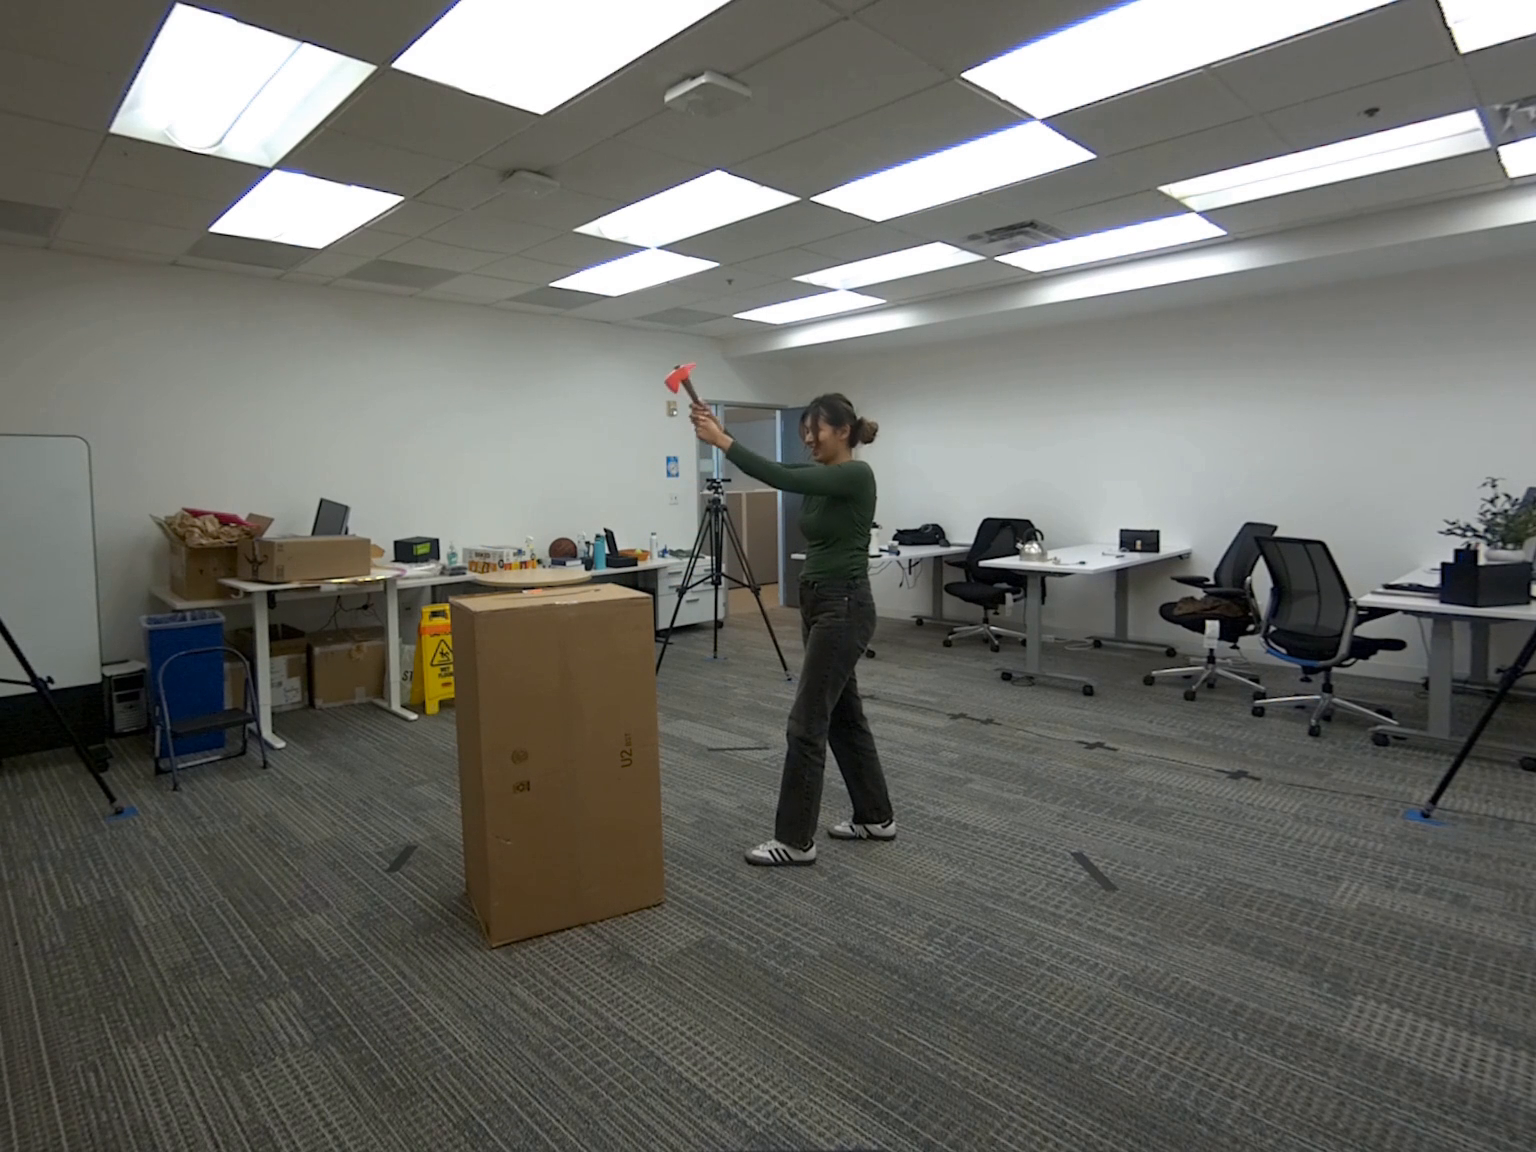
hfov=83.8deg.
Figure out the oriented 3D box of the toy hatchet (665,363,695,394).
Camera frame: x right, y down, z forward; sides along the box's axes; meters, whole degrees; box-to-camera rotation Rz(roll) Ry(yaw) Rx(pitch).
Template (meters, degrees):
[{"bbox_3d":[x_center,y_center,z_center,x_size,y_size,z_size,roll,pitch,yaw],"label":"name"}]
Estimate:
[{"bbox_3d":[-0.271,-0.597,2.957,0.129,0.268,0.030,-17,7,-28],"label":"toy hatchet"}]
